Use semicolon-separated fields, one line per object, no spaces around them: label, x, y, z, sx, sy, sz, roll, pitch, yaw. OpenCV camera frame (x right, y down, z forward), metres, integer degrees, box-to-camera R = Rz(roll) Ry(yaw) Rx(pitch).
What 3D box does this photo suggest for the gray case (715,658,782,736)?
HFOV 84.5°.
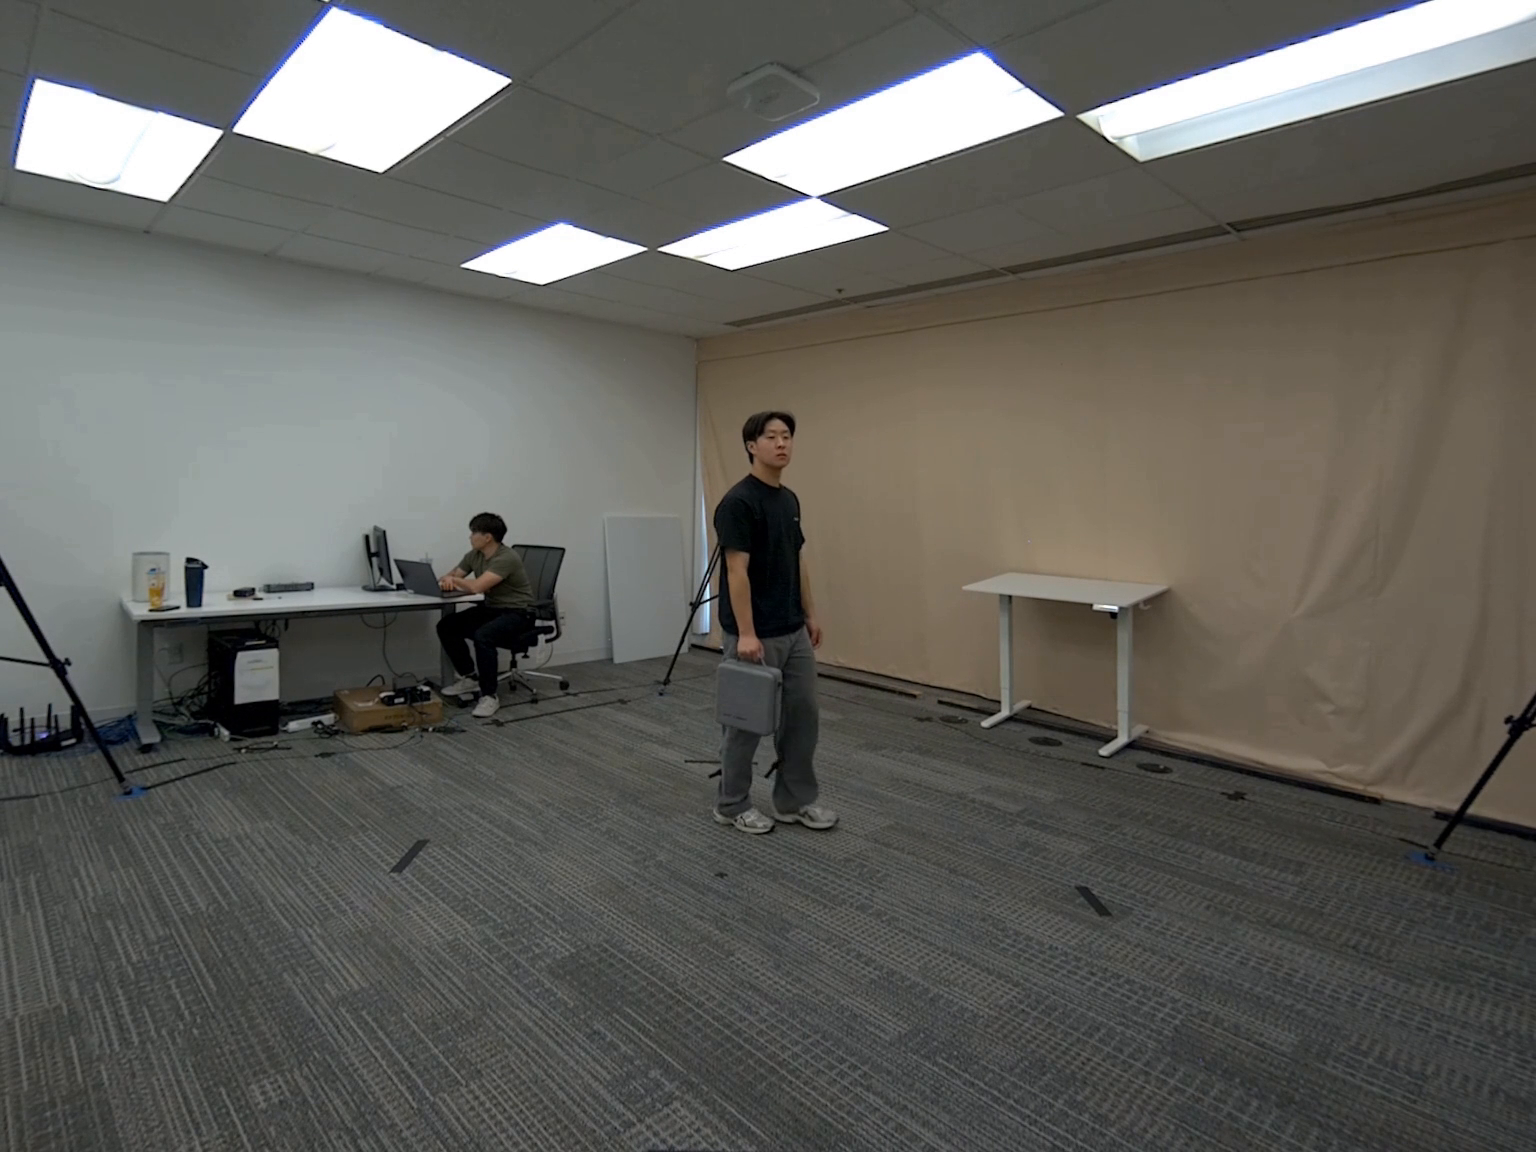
gray case;-0.086;0.456;3.260;0.269;0.285;0.101;9;12;29
